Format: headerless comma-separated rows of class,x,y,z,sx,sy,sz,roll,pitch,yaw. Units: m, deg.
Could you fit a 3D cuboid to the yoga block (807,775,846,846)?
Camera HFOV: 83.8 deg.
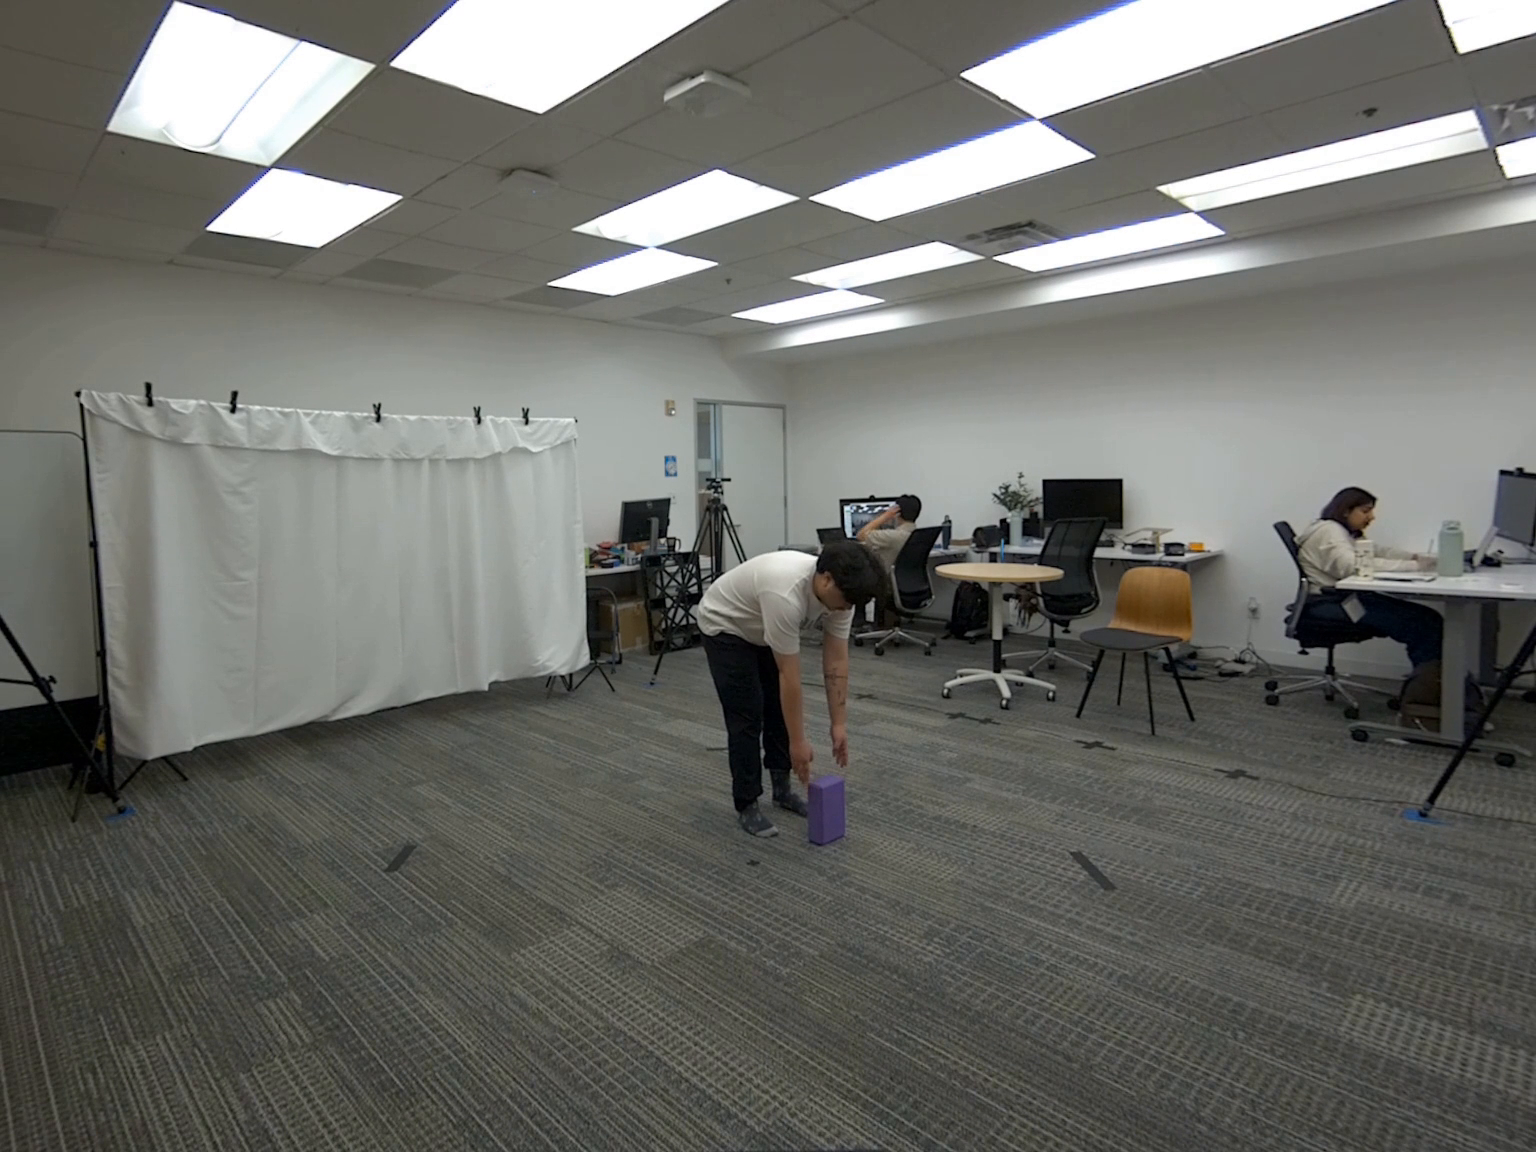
yoga block,0.230,0.900,3.302,0.079,0.229,0.145,1,3,44
